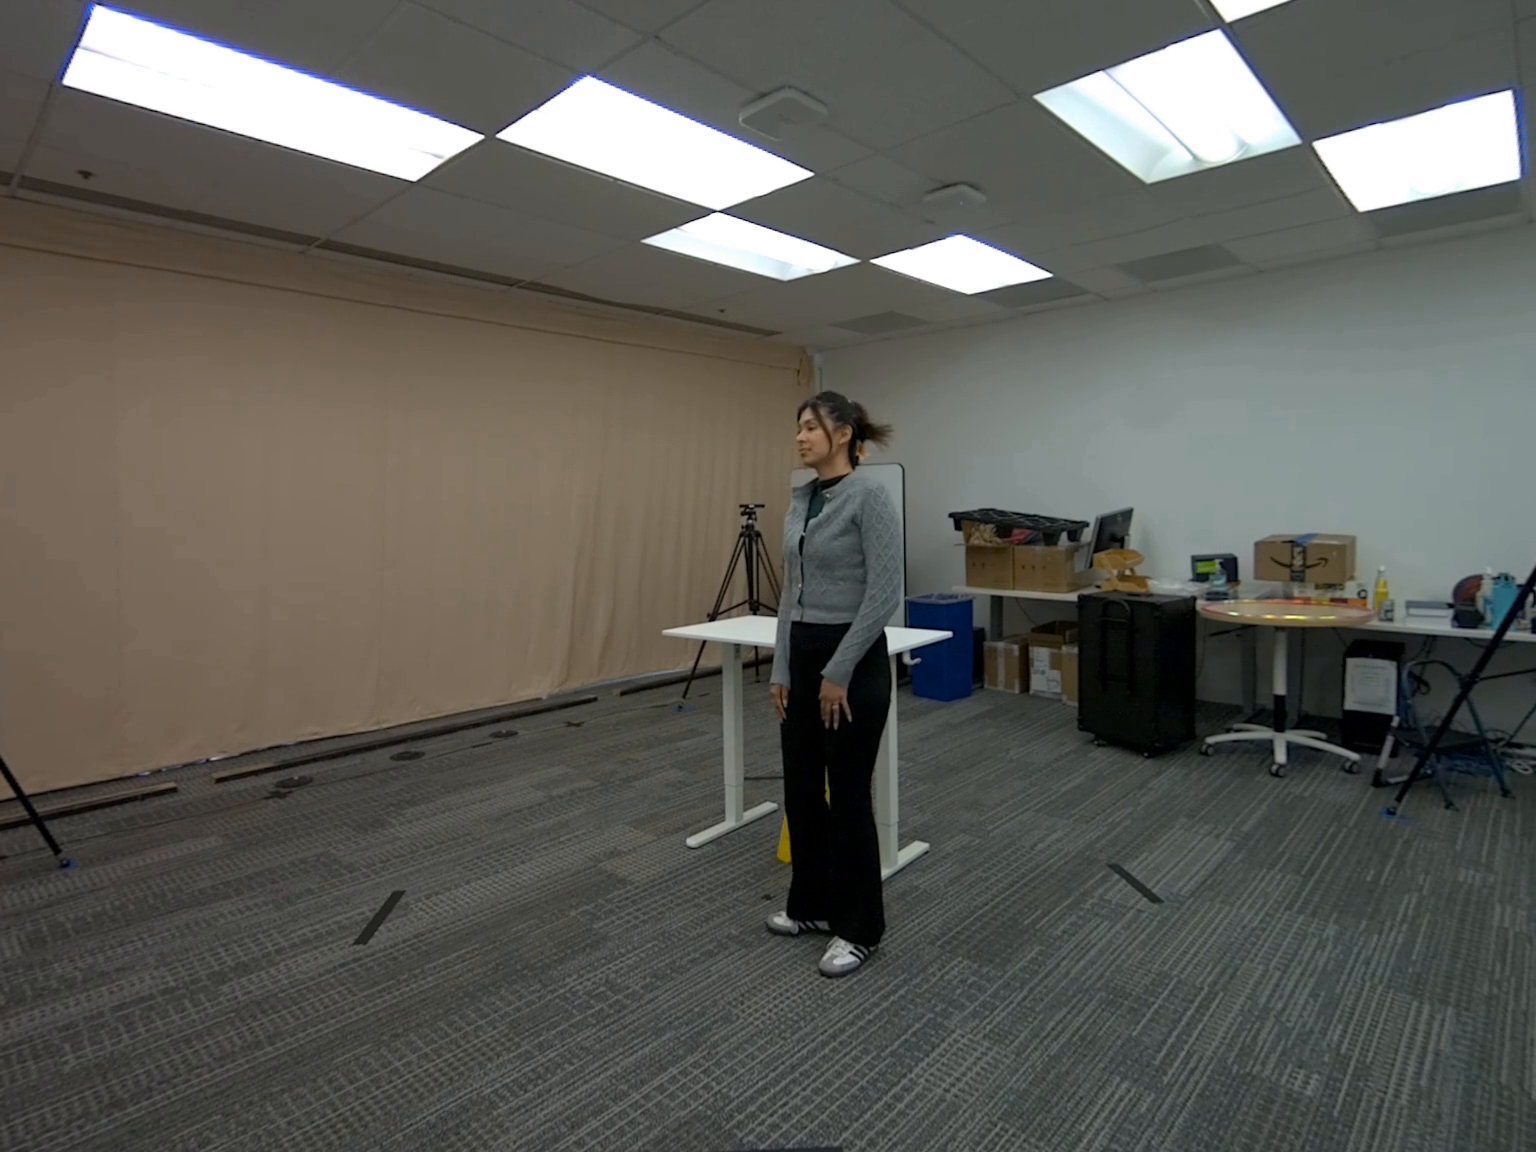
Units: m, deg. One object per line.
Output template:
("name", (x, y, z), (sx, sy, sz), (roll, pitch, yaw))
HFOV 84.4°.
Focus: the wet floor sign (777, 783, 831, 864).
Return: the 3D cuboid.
("wet floor sign", (0.234, 0.787, 3.267), (0.281, 0.645, 0.291), (-2, 4, -35))
